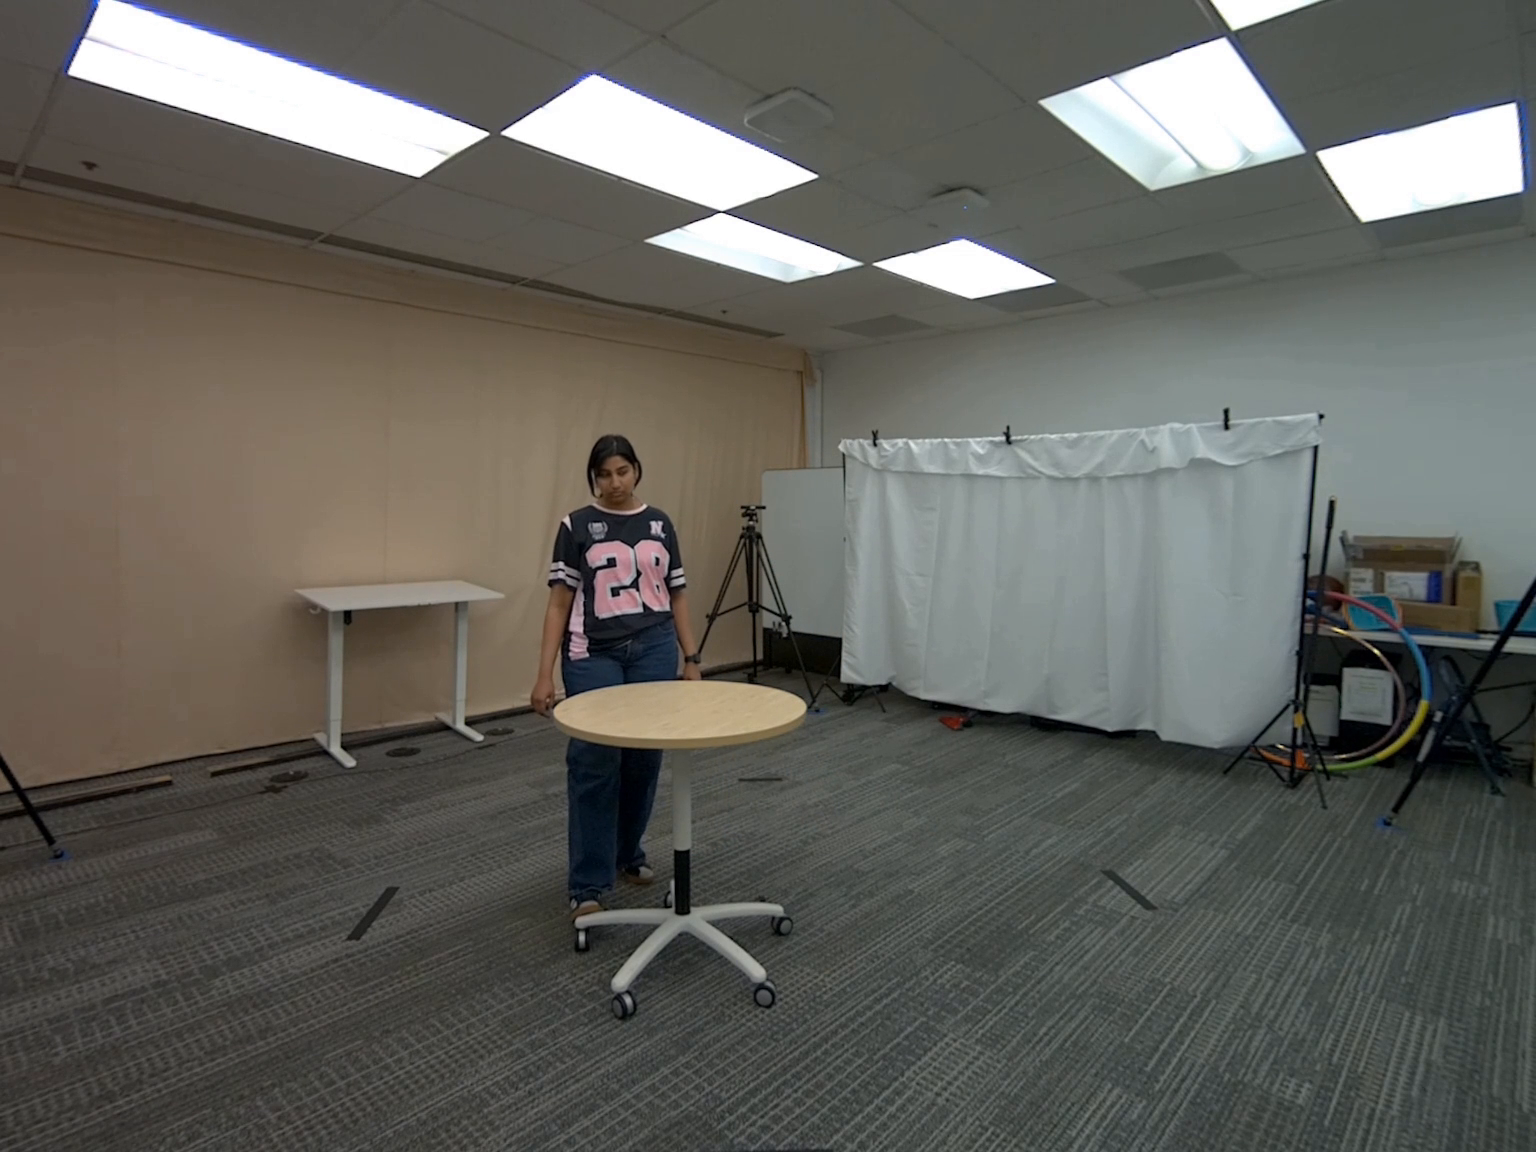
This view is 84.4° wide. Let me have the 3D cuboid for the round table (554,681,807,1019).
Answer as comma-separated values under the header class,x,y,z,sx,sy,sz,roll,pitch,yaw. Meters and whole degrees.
class,x,y,z,sx,sy,sz,roll,pitch,yaw
round table,-0.257,0.792,2.577,0.763,0.792,0.766,-1,4,-2
